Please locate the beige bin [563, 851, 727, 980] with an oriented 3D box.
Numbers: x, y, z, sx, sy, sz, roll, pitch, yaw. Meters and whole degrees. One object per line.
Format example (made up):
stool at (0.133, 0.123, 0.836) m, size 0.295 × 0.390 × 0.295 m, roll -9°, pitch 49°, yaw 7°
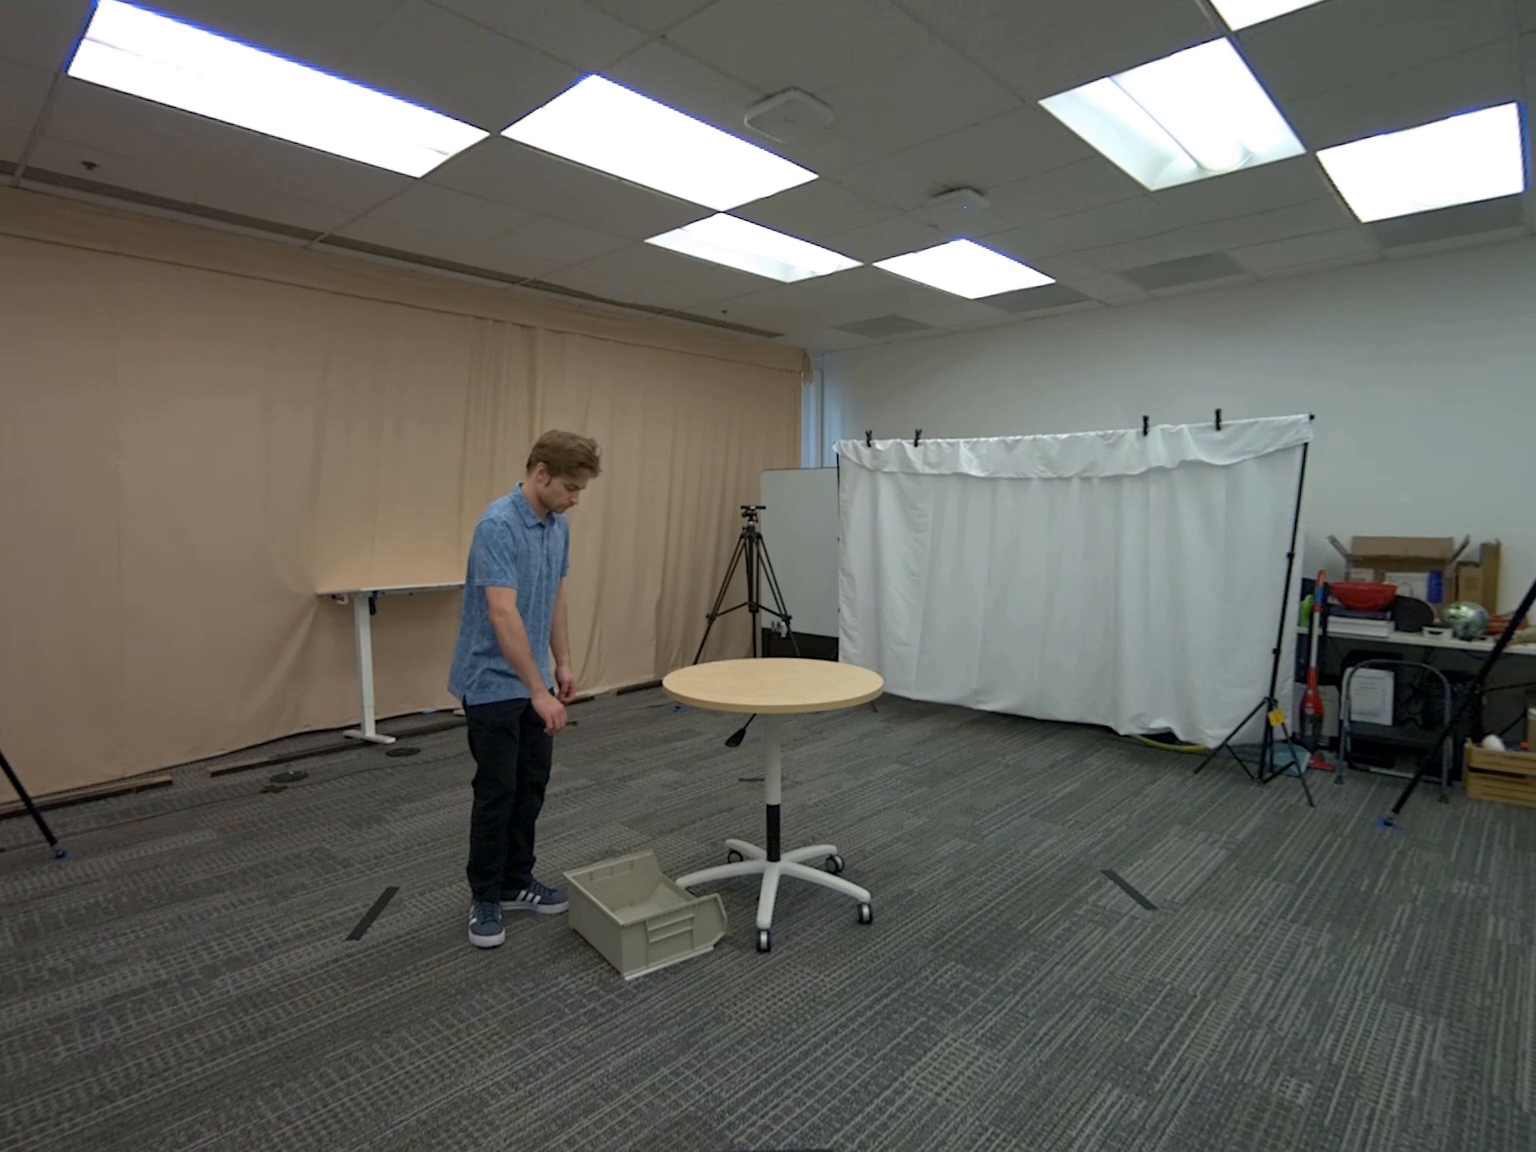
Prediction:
beige bin at (-0.410, 1.081, 2.726) m, size 0.366 × 0.188 × 0.436 m, roll -5°, pitch 7°, yaw -37°
